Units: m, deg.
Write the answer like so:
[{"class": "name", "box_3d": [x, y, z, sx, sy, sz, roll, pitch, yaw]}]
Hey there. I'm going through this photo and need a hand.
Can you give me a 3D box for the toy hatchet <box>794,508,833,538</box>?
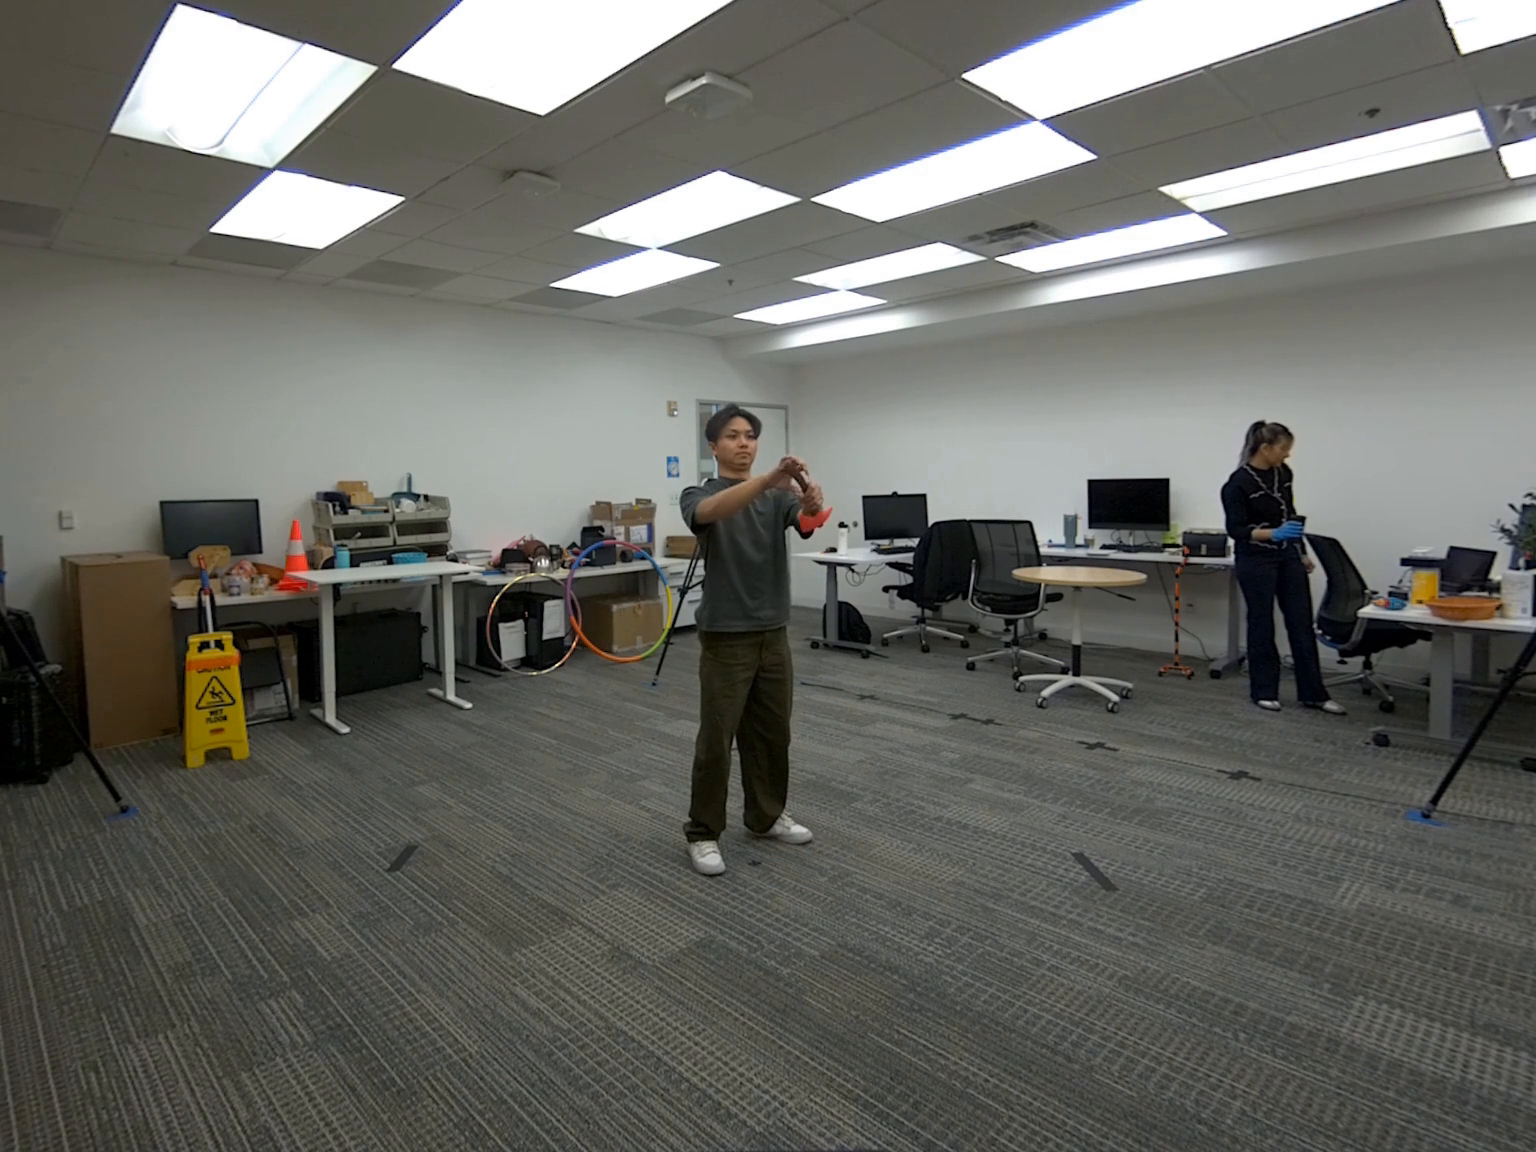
[{"class": "toy hatchet", "box_3d": [0.093, -0.234, 2.726, 0.260, 0.131, 0.030, 40, -7, -33]}]
